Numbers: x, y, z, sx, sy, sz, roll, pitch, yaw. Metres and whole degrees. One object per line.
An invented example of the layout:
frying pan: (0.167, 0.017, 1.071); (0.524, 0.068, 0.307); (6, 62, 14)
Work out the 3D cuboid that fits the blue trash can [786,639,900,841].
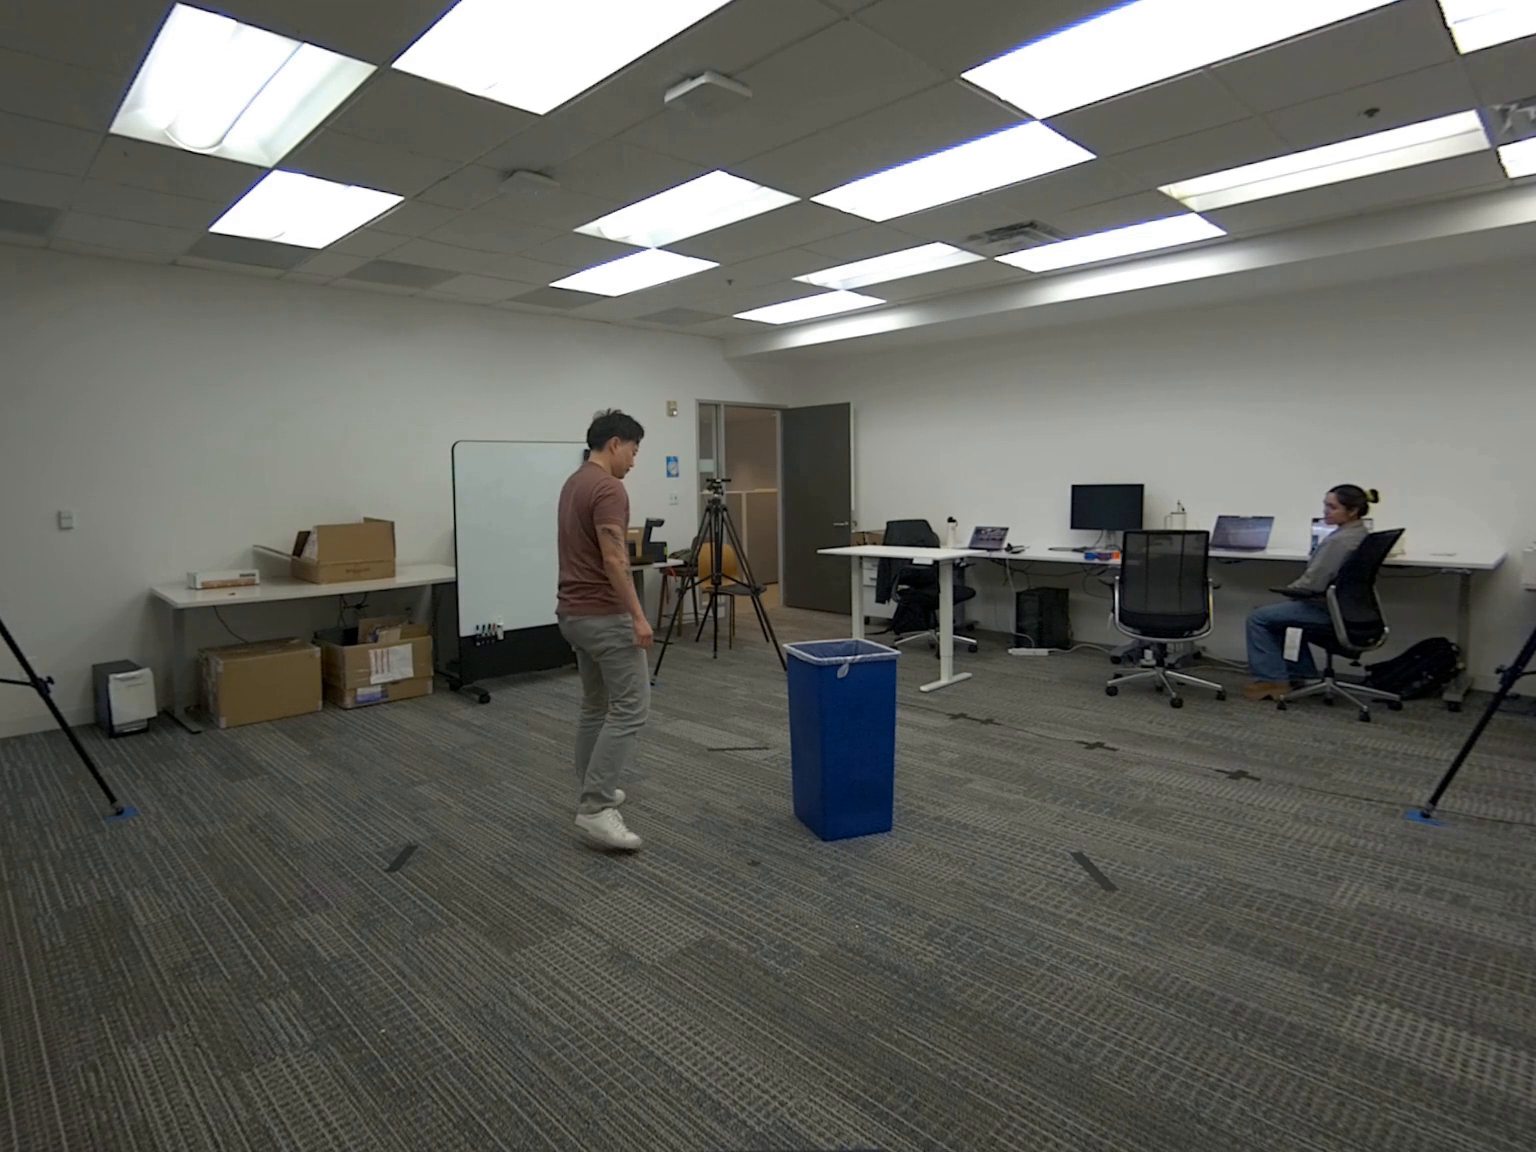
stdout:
blue trash can: (0.287, 0.640, 3.442); (0.371, 0.711, 0.382); (-2, 4, -21)
